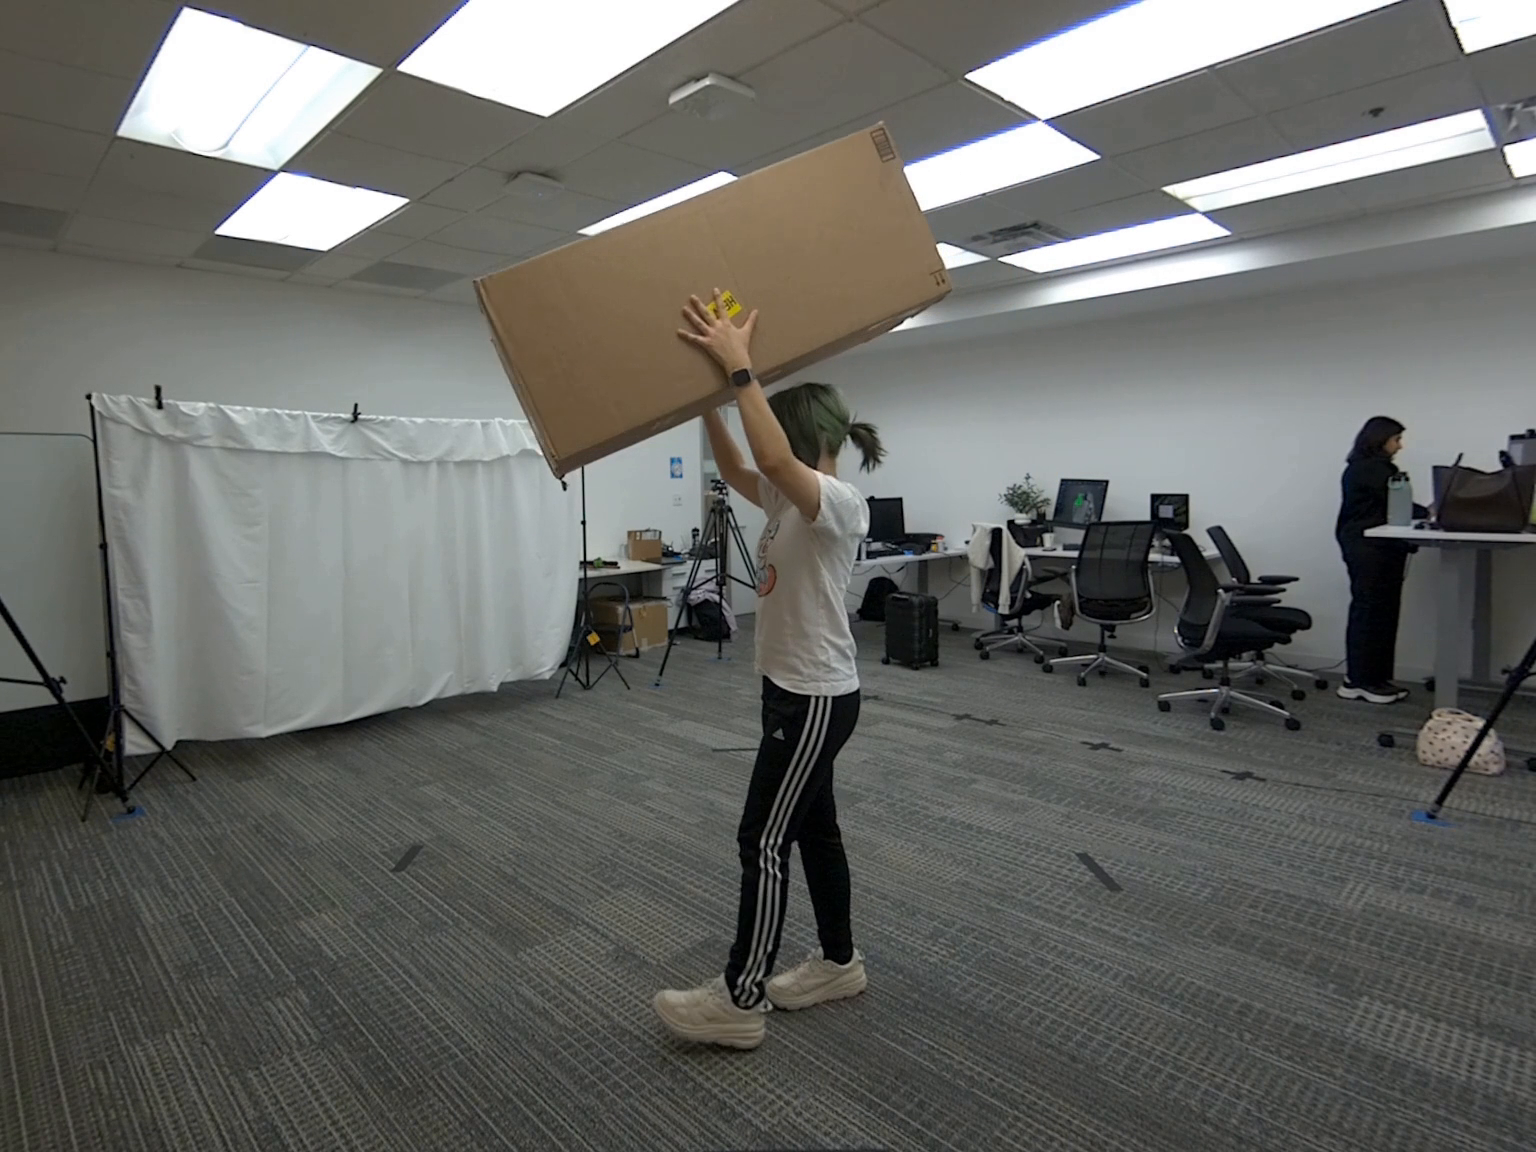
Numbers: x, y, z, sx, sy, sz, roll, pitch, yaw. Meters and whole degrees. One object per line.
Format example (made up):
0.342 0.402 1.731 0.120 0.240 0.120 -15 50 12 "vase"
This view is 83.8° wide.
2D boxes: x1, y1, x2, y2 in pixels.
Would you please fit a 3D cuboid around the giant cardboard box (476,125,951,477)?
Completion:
-0.167 -0.660 2.181 1.022 0.443 0.593 -26 9 -10 "giant cardboard box"
